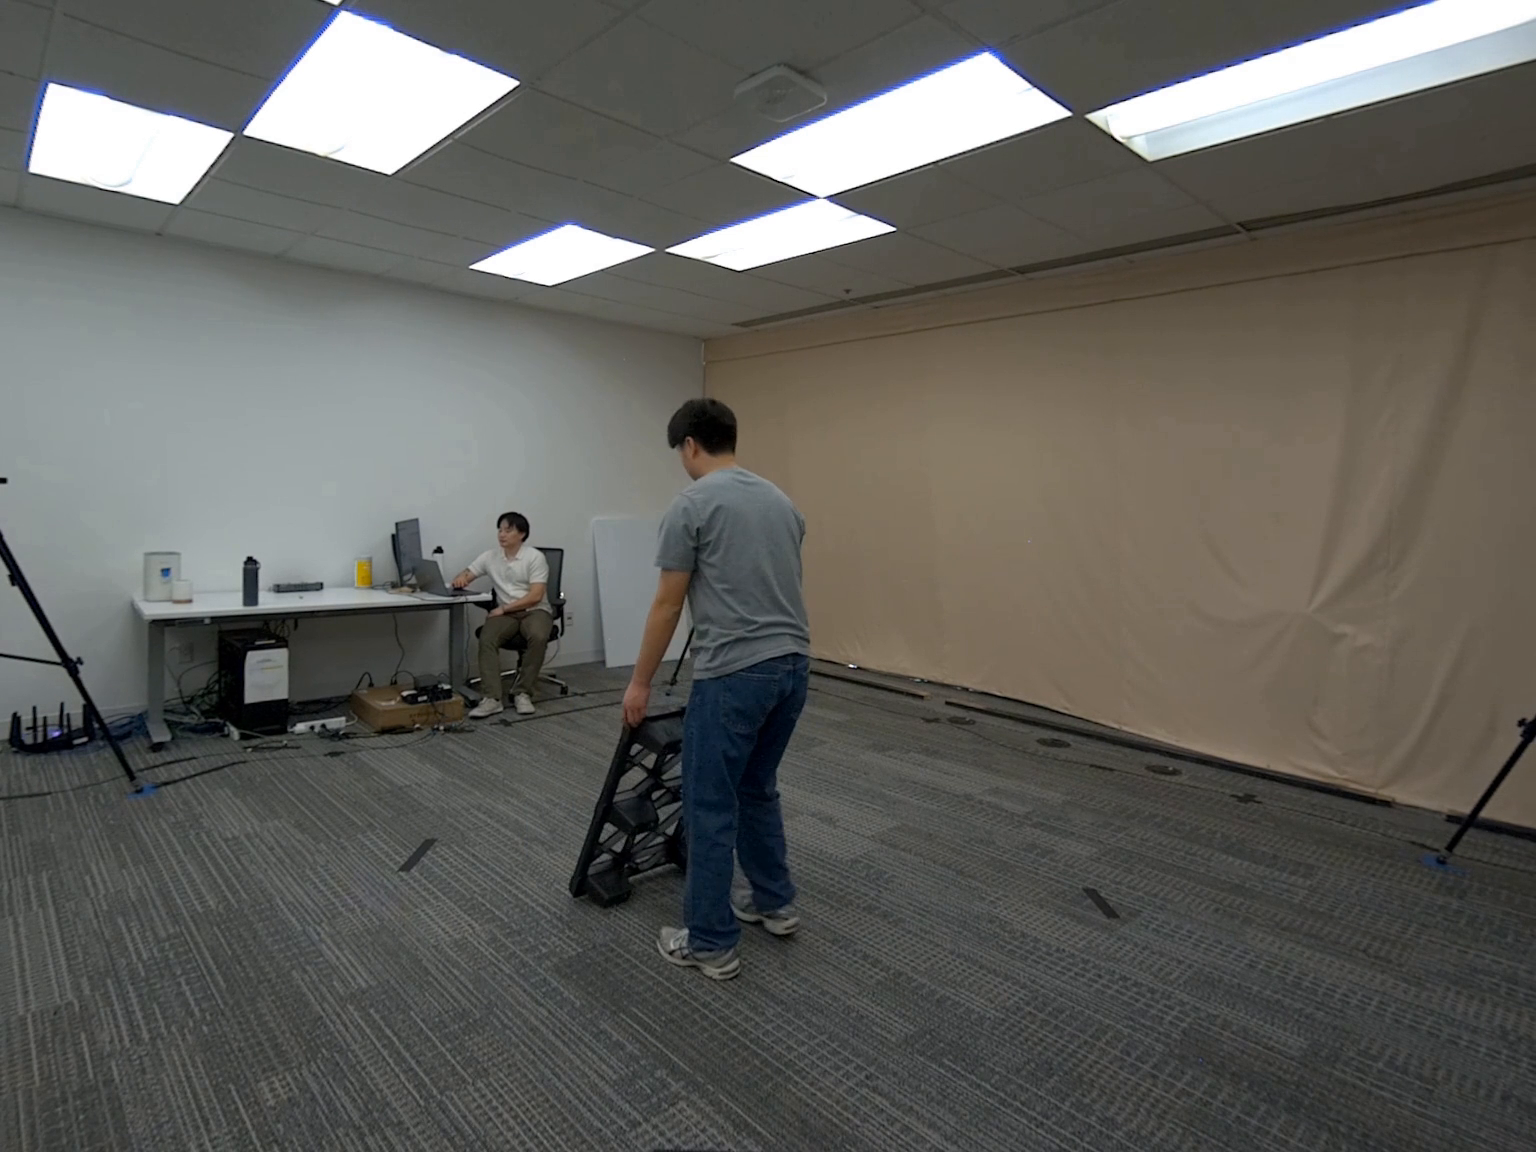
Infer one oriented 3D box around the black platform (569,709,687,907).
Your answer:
[{"bbox_3d":[-0.307,0.768,2.885,0.591,0.798,0.148,-3,34,-41],"label":"black platform"}]
